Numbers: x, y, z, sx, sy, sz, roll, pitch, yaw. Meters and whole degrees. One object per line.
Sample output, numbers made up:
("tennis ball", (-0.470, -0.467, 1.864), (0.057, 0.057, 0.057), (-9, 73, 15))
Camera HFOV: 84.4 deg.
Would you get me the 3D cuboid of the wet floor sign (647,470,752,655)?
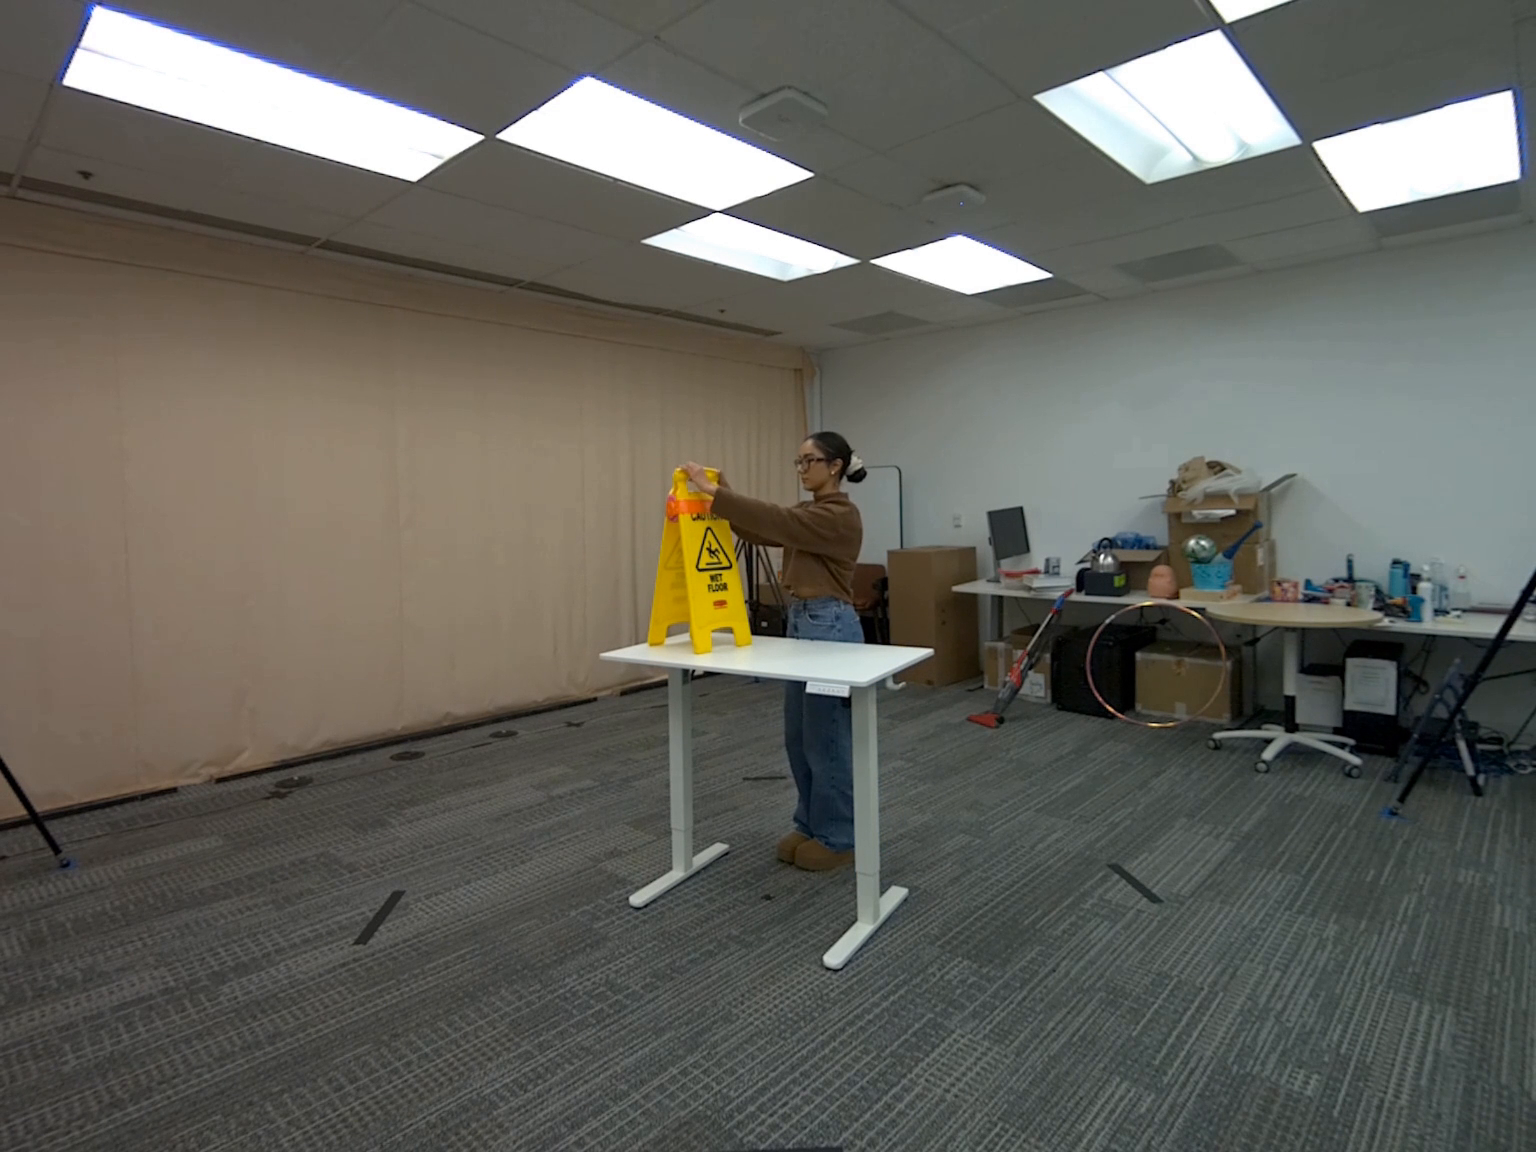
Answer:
("wet floor sign", (-0.251, -0.067, 3.077), (0.273, 0.645, 0.299), (-4, 4, -45))
